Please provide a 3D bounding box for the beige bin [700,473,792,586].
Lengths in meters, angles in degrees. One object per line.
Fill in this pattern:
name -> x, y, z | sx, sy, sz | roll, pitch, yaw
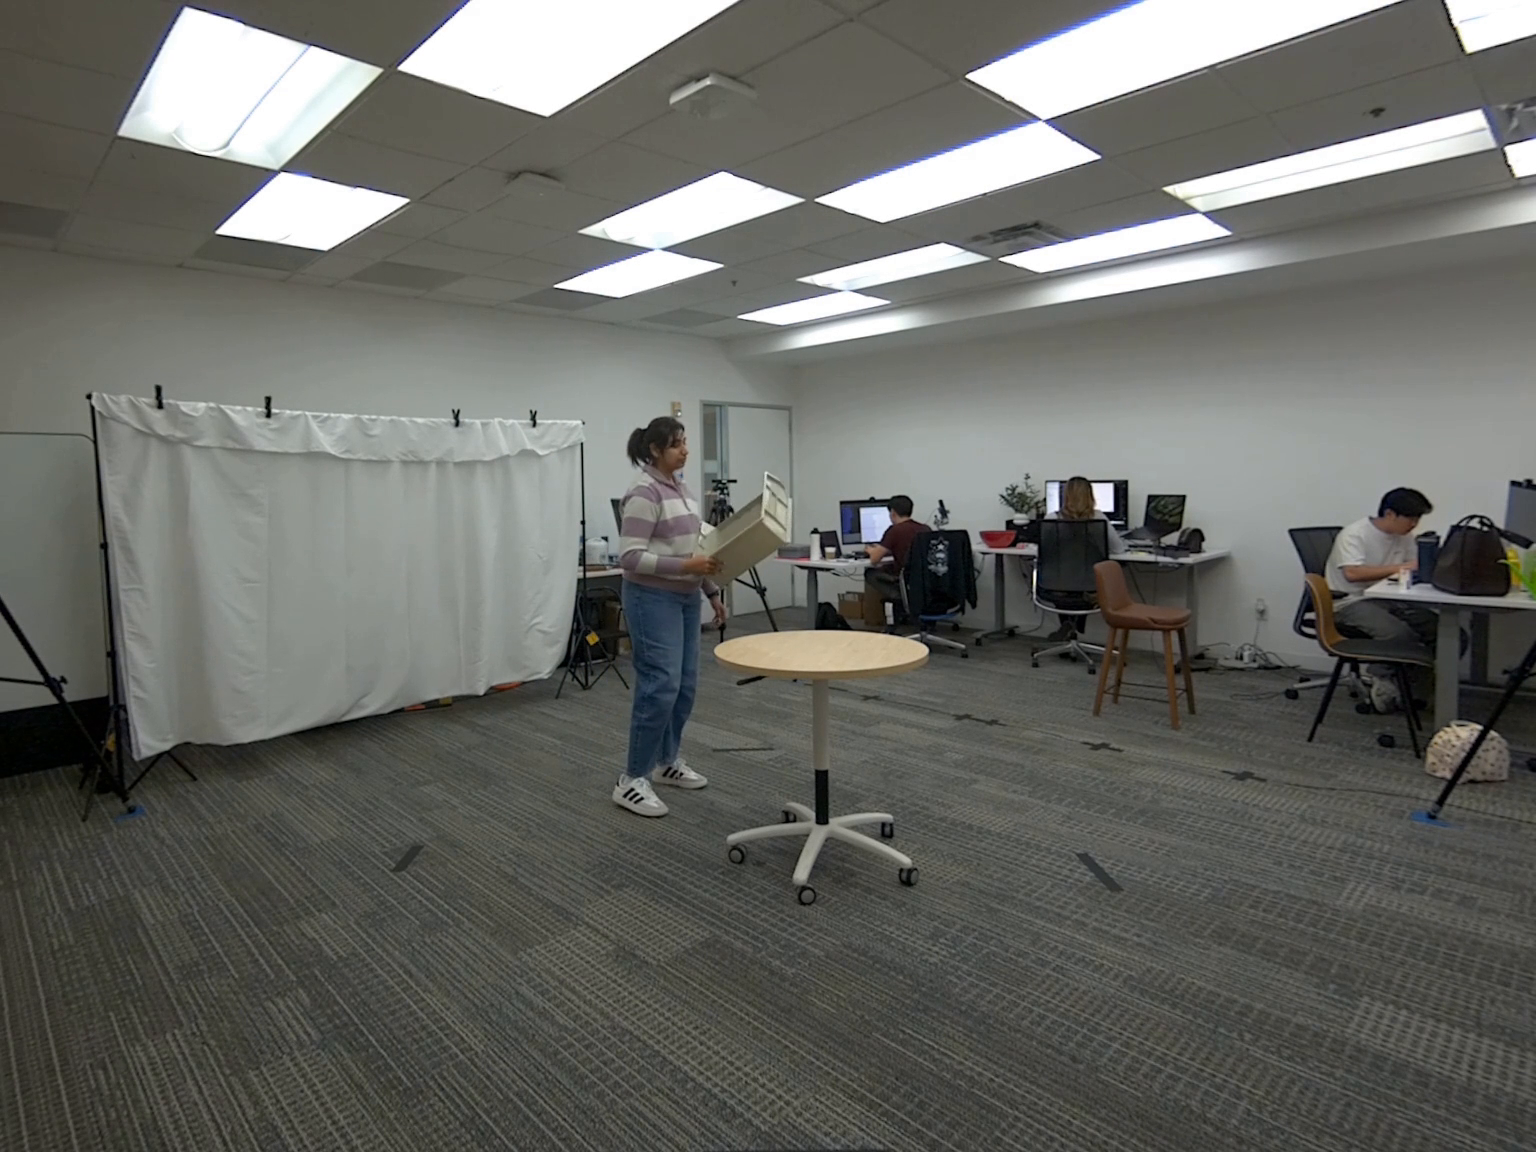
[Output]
beige bin -> -0.116, -0.197, 3.726 | 0.425, 0.183, 0.386 | -34, 30, 27
